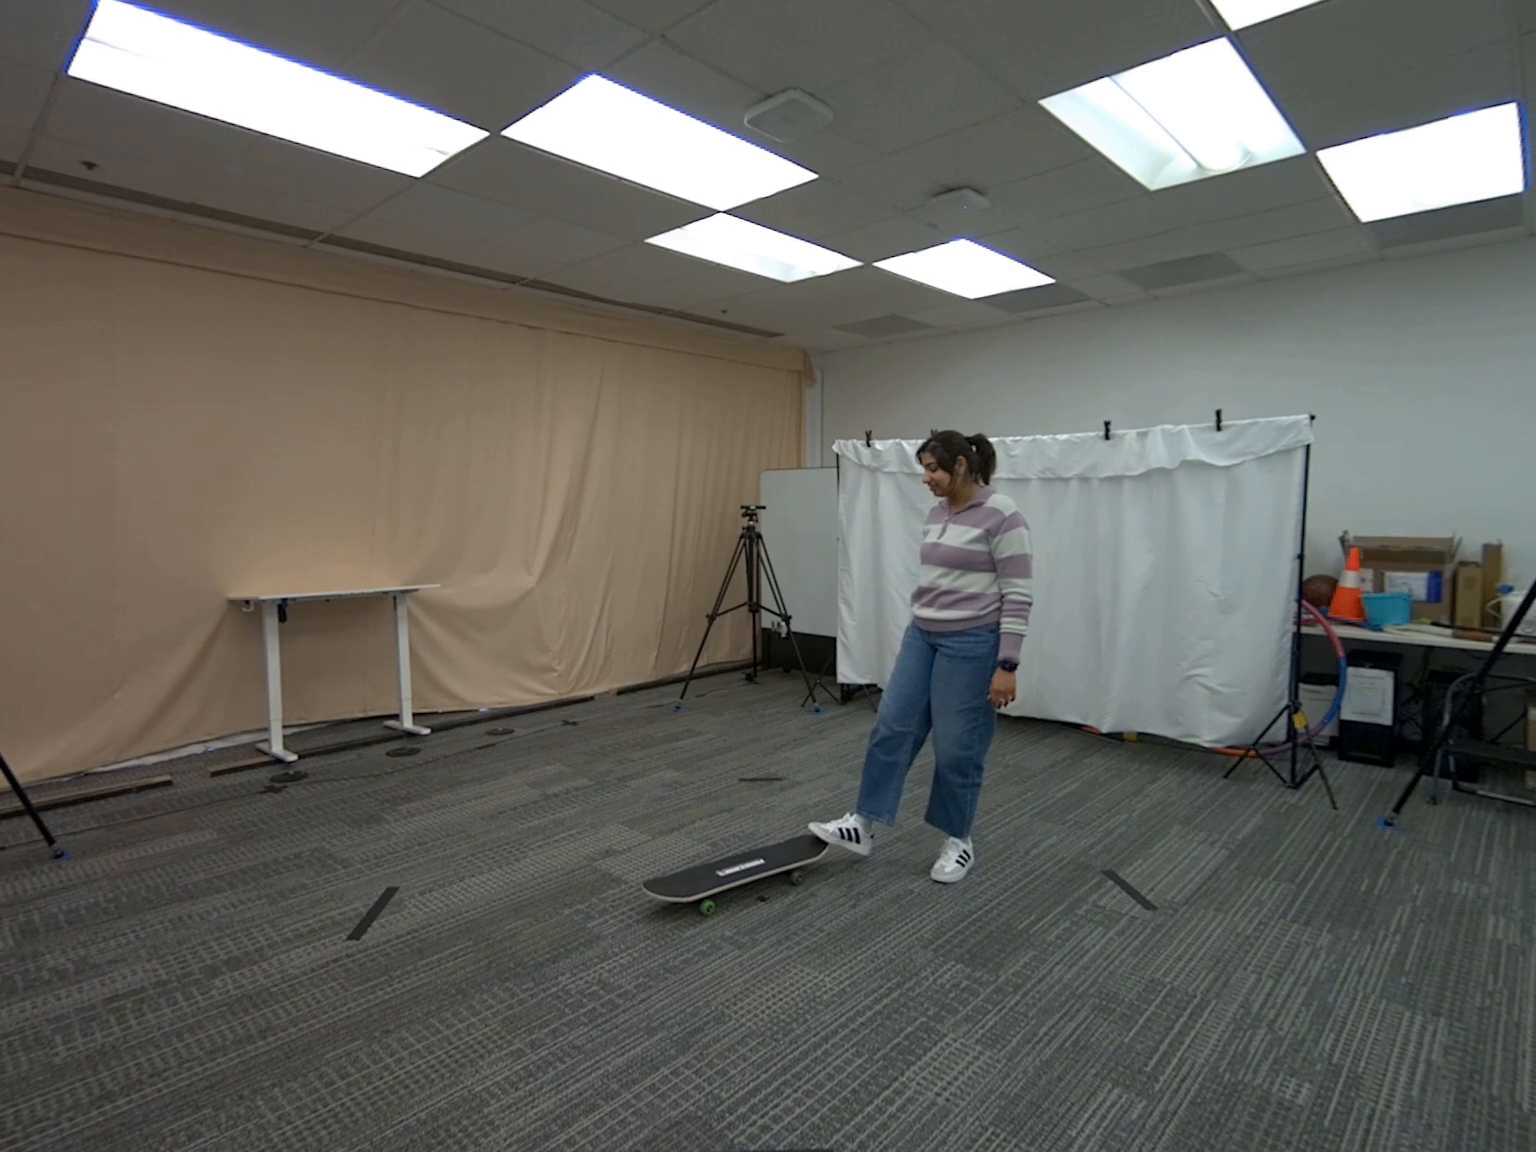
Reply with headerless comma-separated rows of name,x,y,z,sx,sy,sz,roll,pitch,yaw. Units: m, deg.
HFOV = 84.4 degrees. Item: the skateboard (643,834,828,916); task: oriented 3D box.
skateboard,-0.101,1.089,3.037,0.762,0.110,0.199,-3,4,-36
